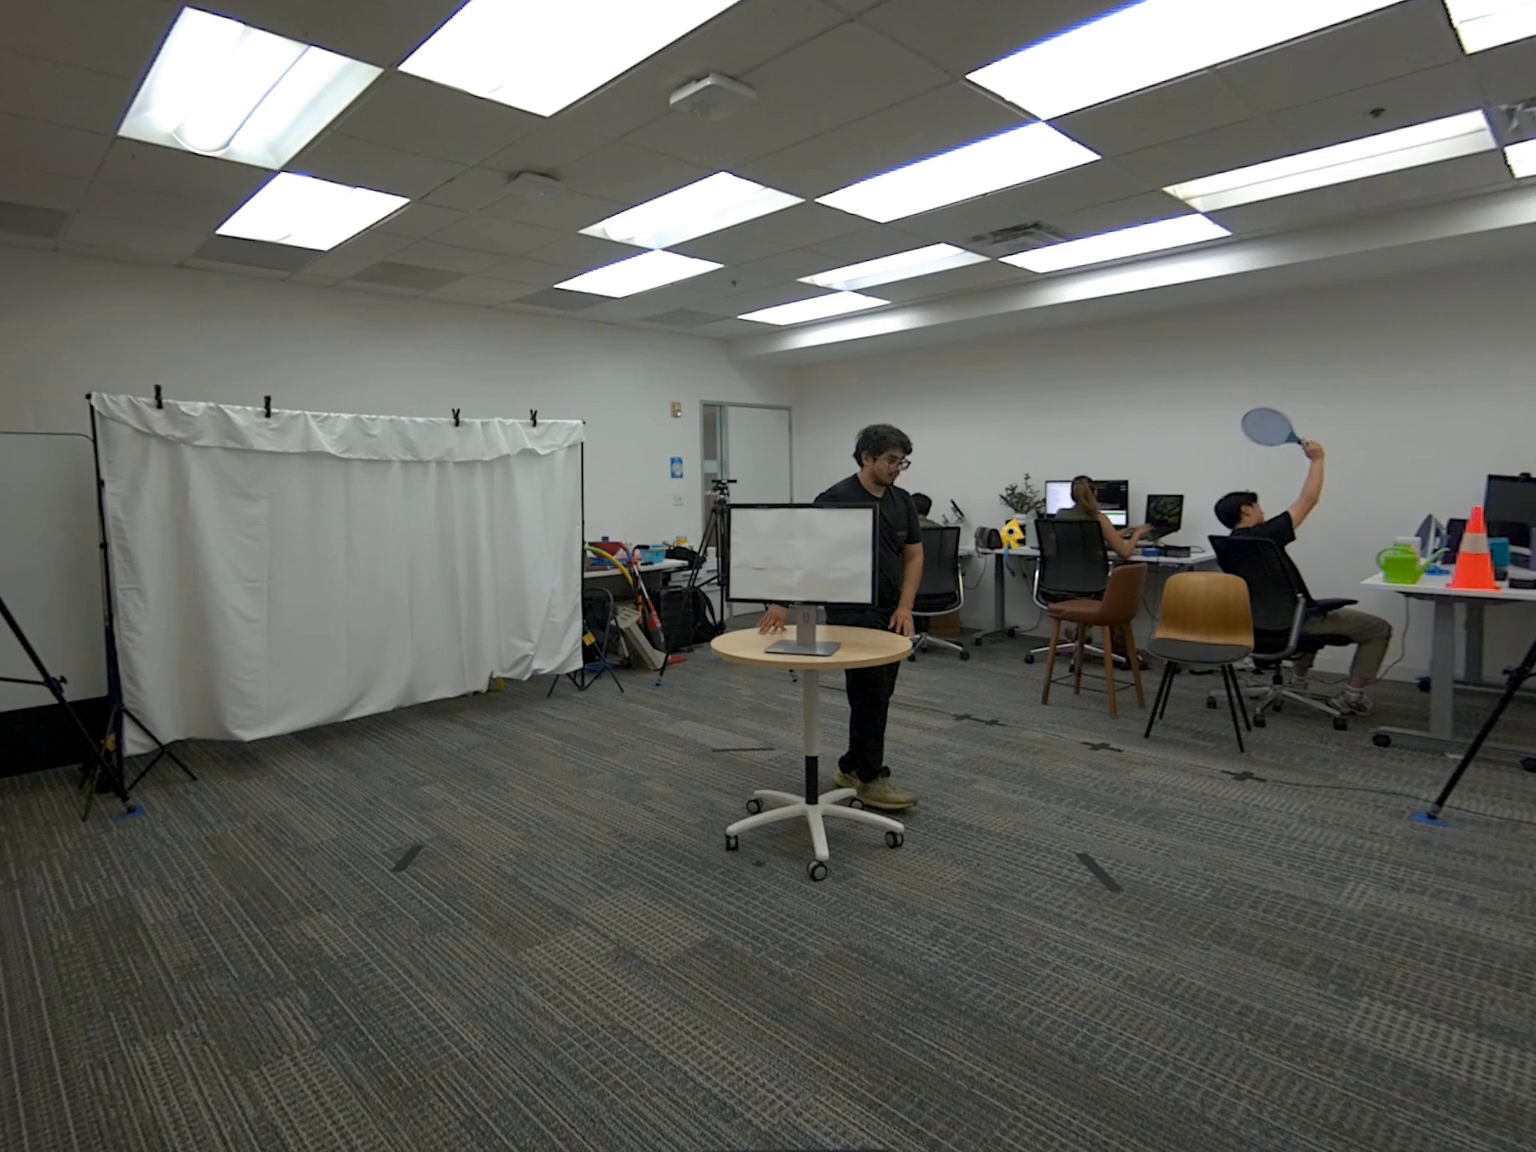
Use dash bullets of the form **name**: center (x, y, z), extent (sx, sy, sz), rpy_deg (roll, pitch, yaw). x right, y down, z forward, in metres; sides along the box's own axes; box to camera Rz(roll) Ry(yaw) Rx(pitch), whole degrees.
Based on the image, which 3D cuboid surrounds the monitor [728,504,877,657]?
- **monitor**: center (0.134, 0.007, 3.129), extent (0.576, 0.554, 0.206), rpy_deg (1, 1, 20)
